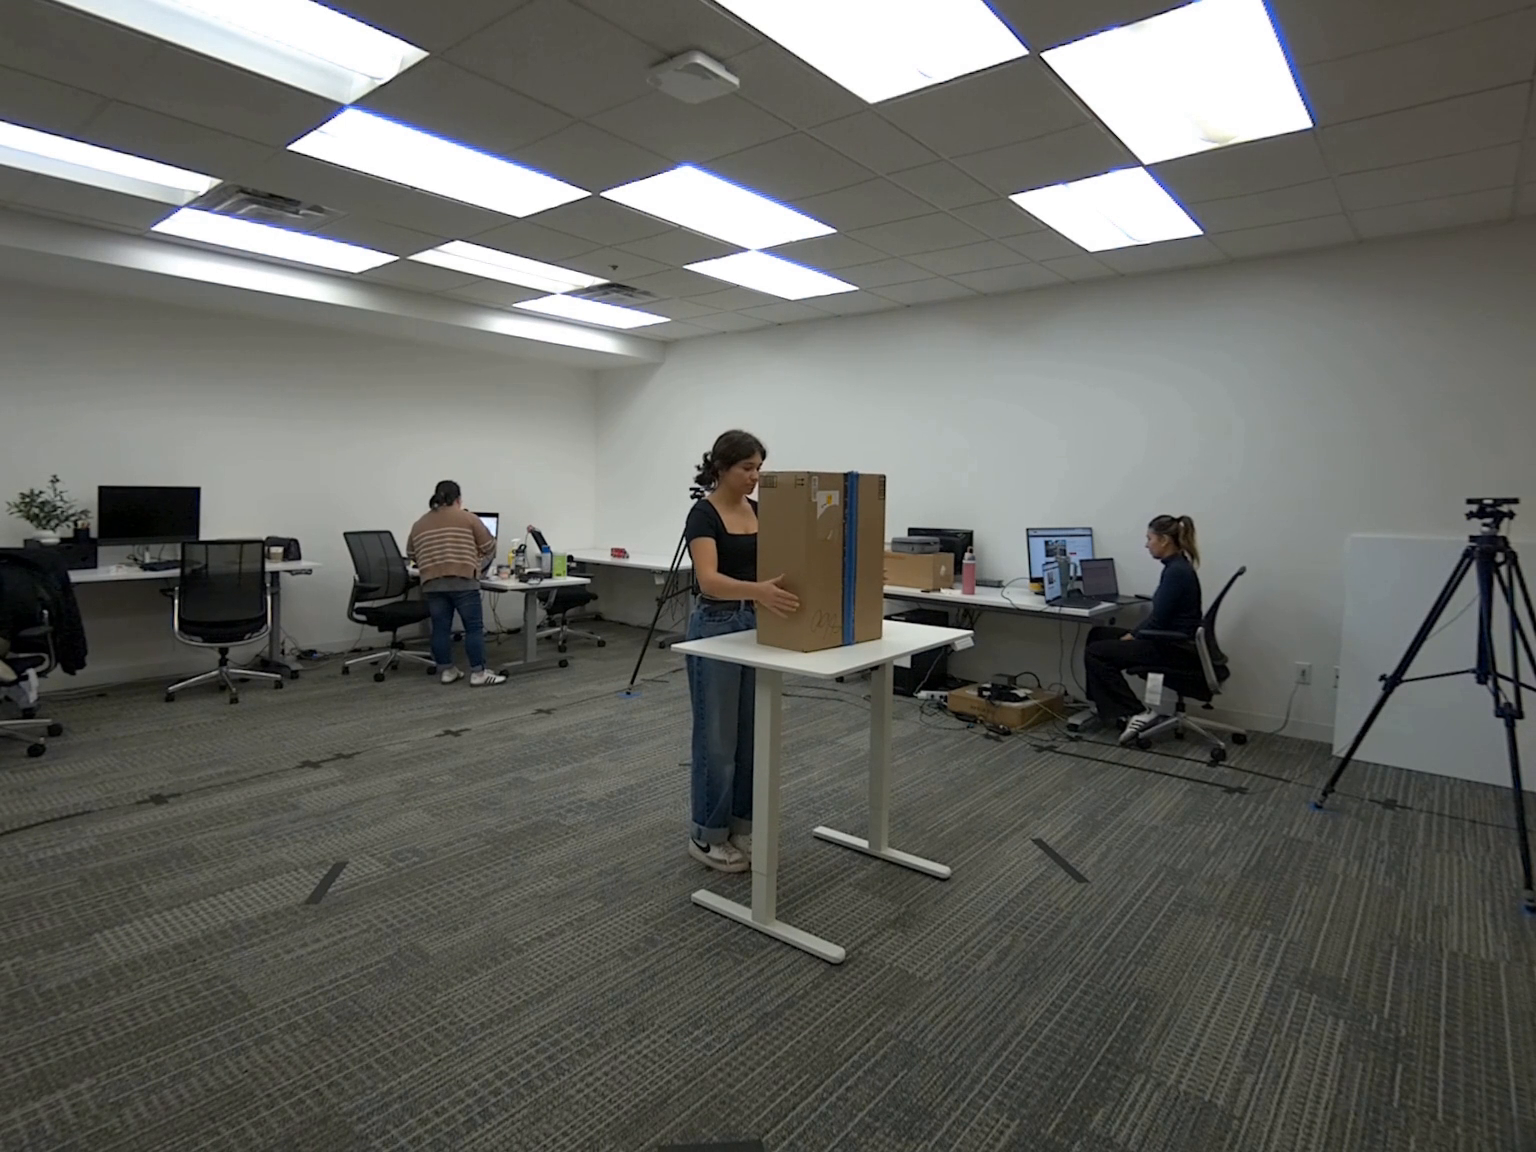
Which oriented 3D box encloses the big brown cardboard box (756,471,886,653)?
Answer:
[{"bbox_3d":[0.175,-0.071,2.848,0.241,0.586,0.405,5,6,44],"label":"big brown cardboard box"}]
